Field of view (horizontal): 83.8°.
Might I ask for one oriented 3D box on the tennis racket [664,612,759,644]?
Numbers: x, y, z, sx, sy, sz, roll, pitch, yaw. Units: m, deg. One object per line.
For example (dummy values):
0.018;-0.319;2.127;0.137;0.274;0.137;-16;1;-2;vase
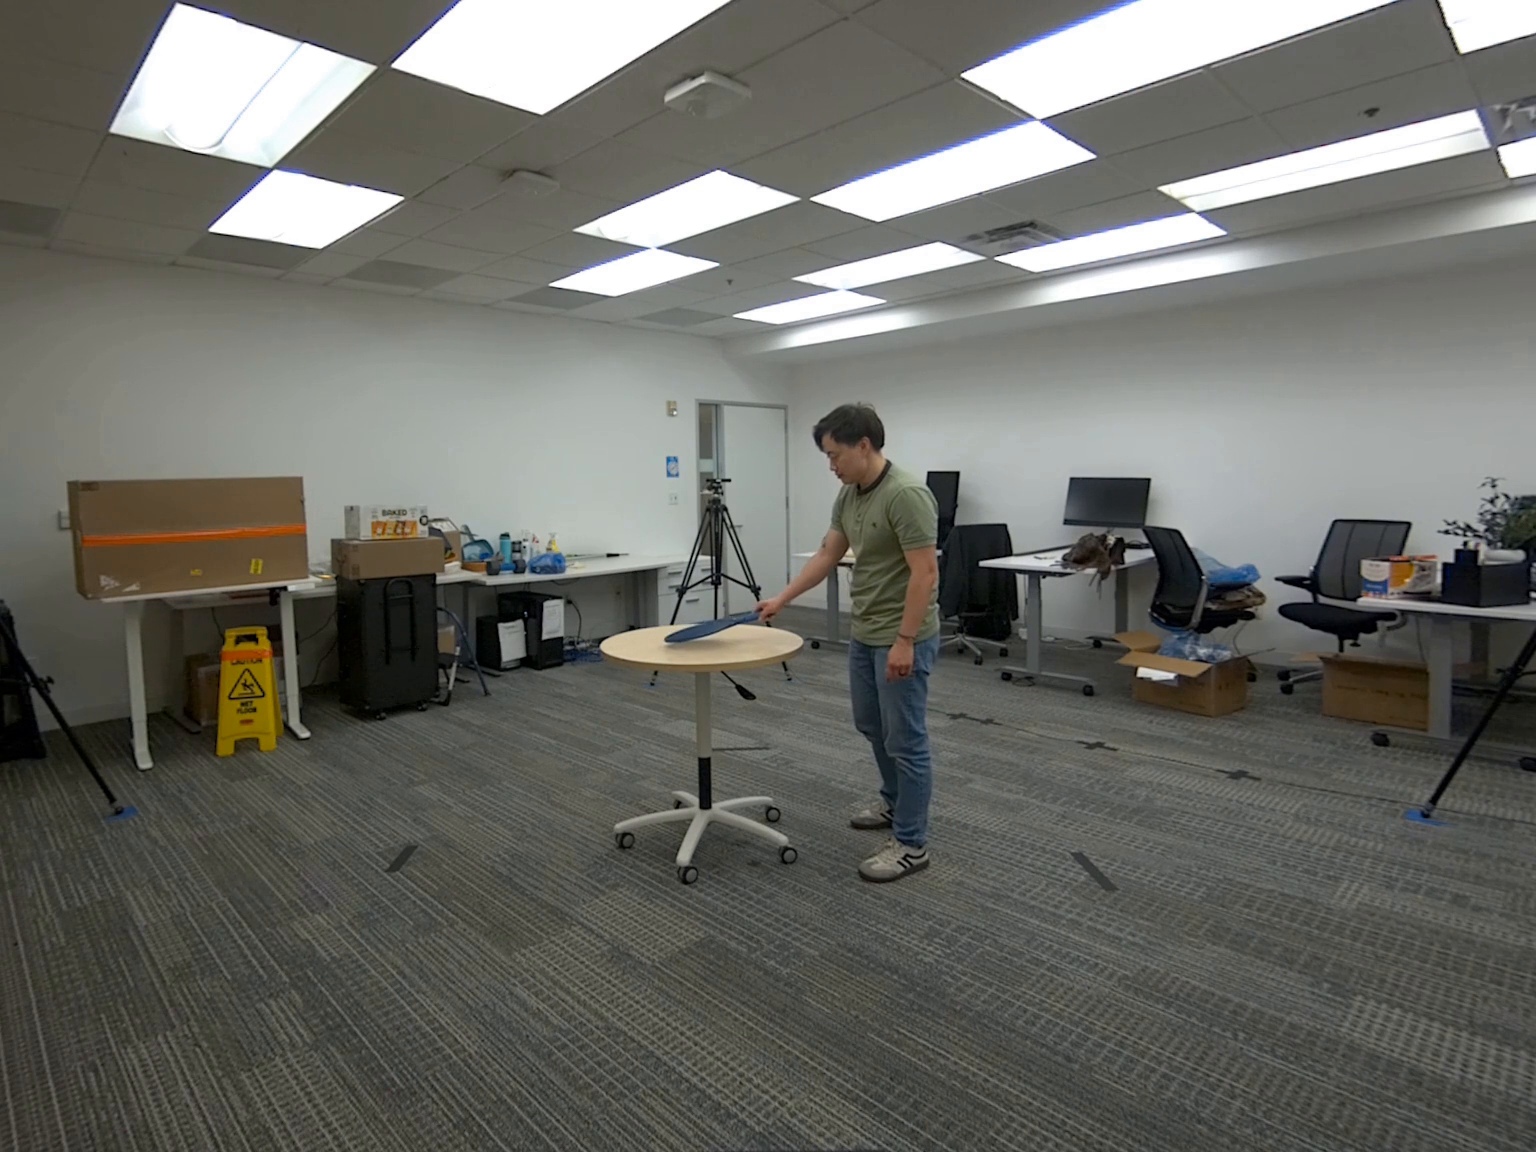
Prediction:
-0.179;0.187;3.200;0.427;0.032;0.213;-13;-15;-19;tennis racket
